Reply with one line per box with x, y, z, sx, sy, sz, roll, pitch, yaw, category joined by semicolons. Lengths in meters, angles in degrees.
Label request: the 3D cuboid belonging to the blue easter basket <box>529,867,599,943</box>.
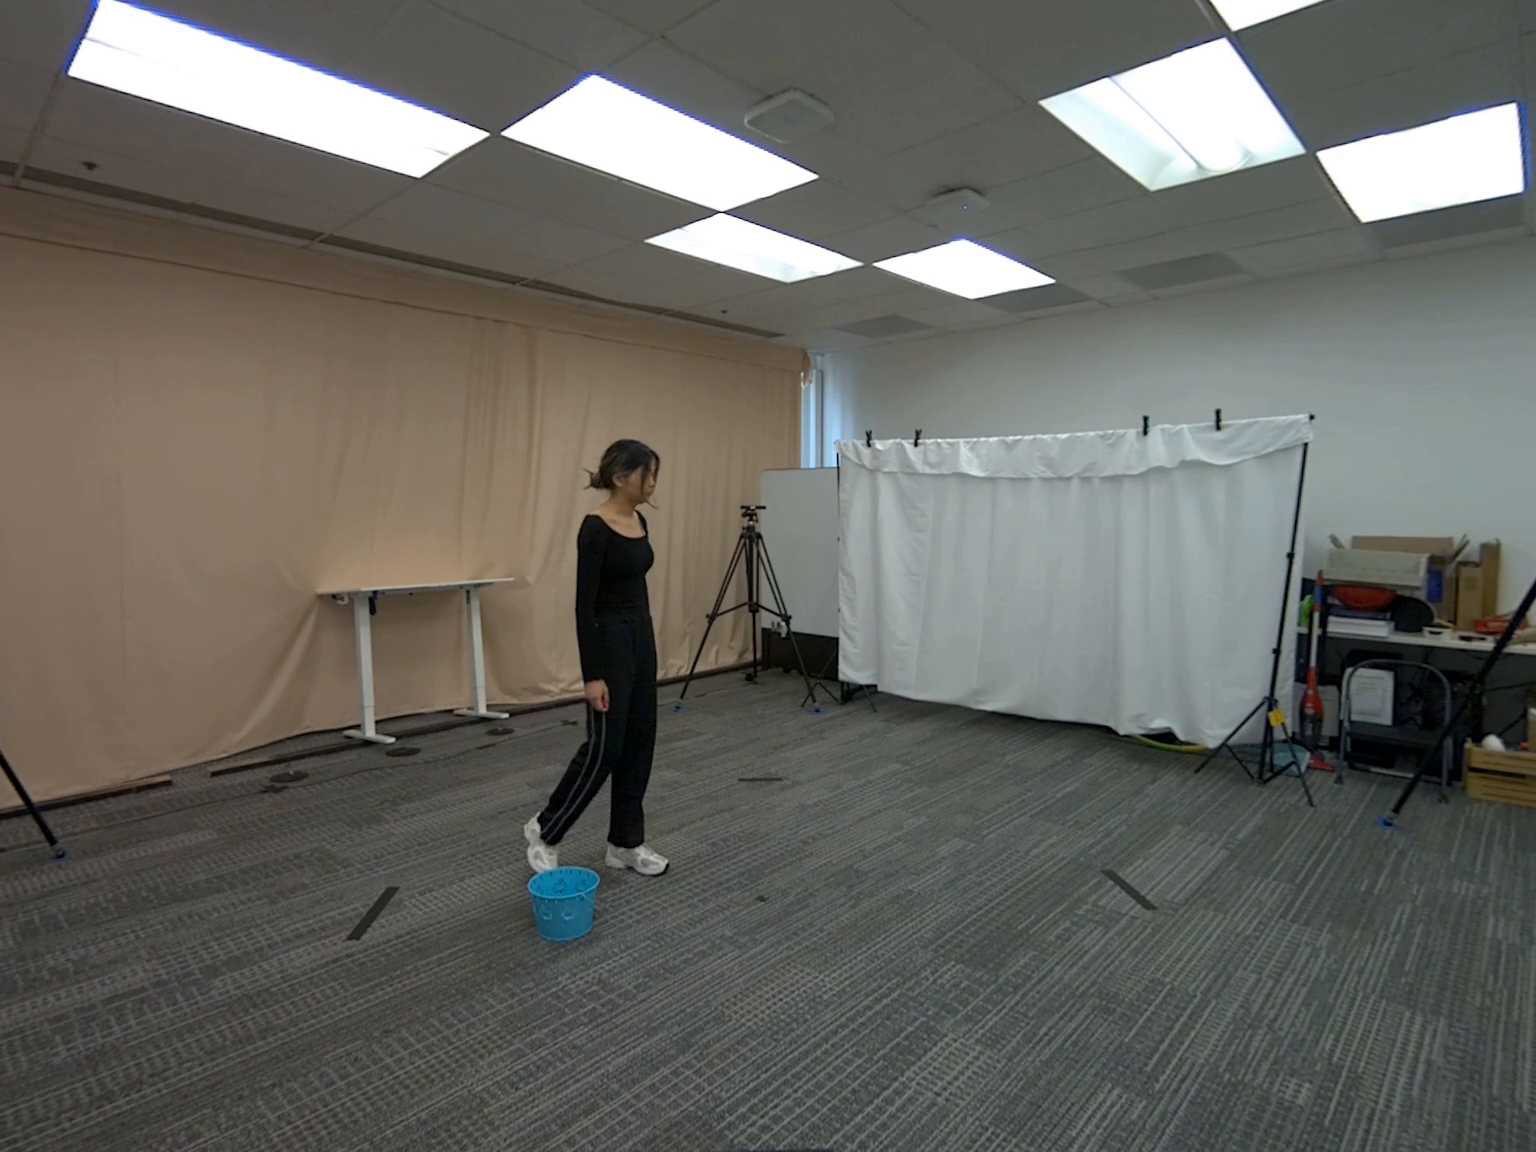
-0.672;1.084;2.793;0.243;0.155;0.244;0;4;-2;blue easter basket
